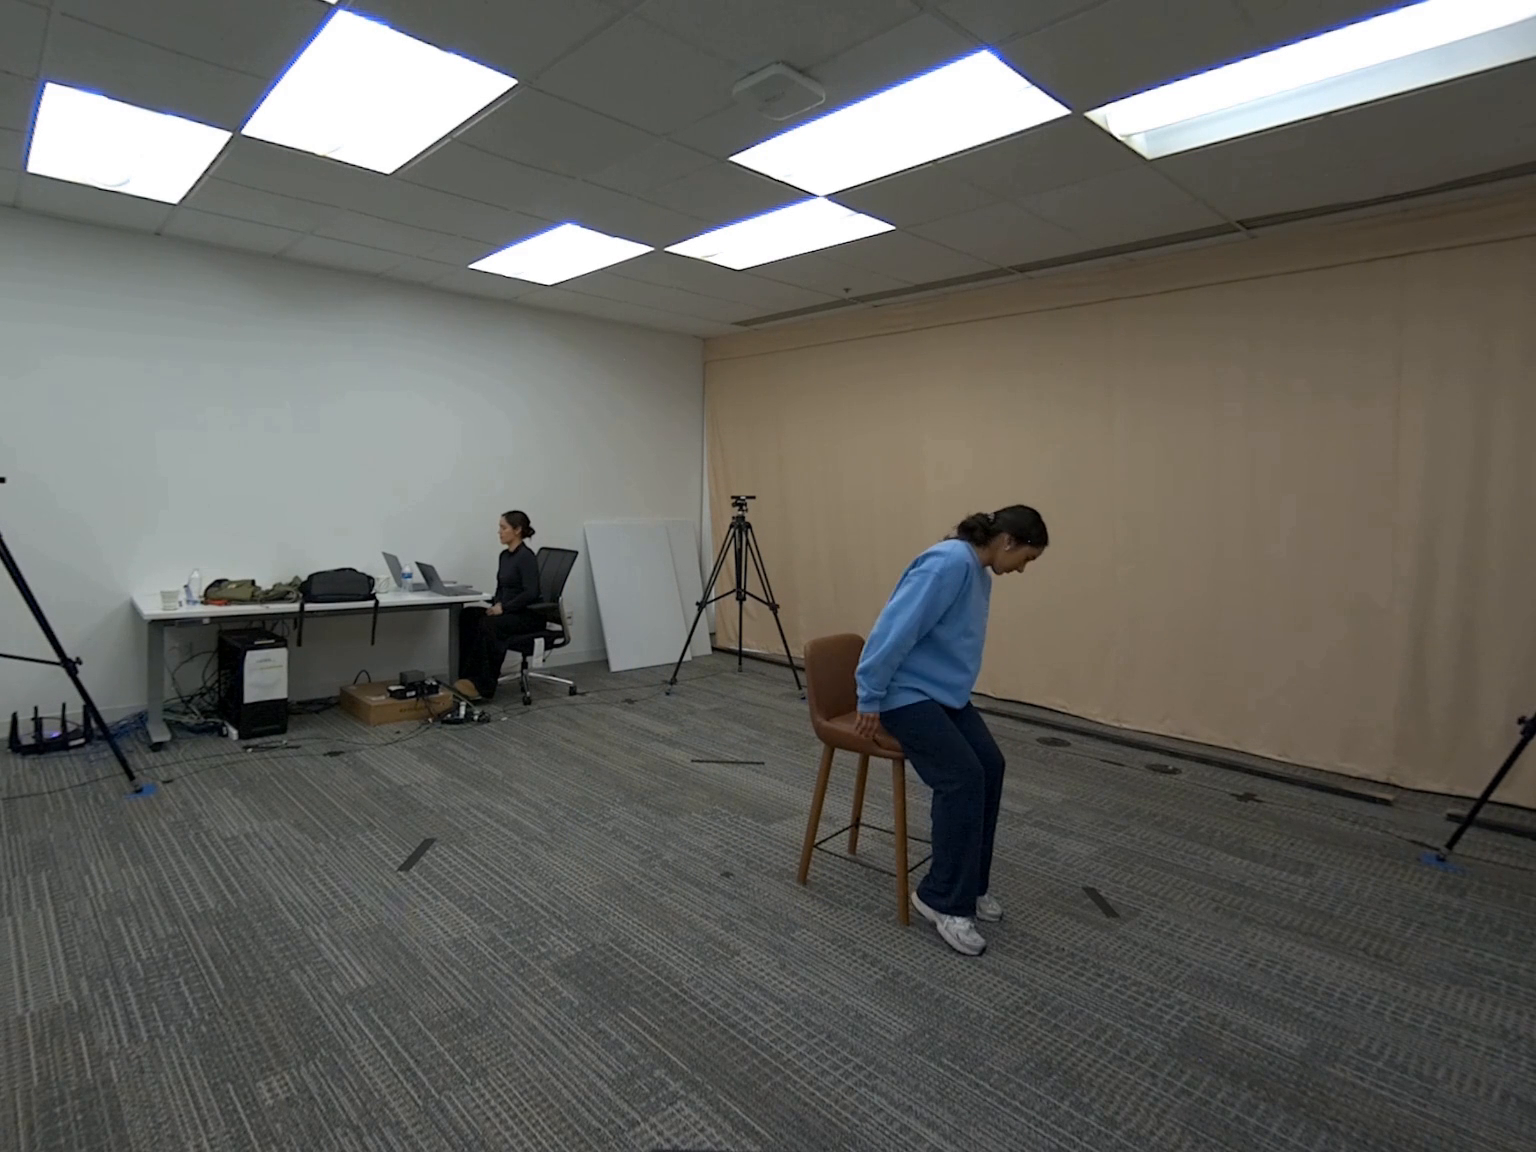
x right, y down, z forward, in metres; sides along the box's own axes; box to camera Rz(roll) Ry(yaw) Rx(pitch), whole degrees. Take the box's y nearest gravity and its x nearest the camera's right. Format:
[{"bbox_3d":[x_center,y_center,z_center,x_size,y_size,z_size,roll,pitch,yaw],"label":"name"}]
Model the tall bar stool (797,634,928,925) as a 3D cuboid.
[{"bbox_3d":[0.396,0.684,3.032,0.479,0.888,0.446,3,3,38],"label":"tall bar stool"}]
